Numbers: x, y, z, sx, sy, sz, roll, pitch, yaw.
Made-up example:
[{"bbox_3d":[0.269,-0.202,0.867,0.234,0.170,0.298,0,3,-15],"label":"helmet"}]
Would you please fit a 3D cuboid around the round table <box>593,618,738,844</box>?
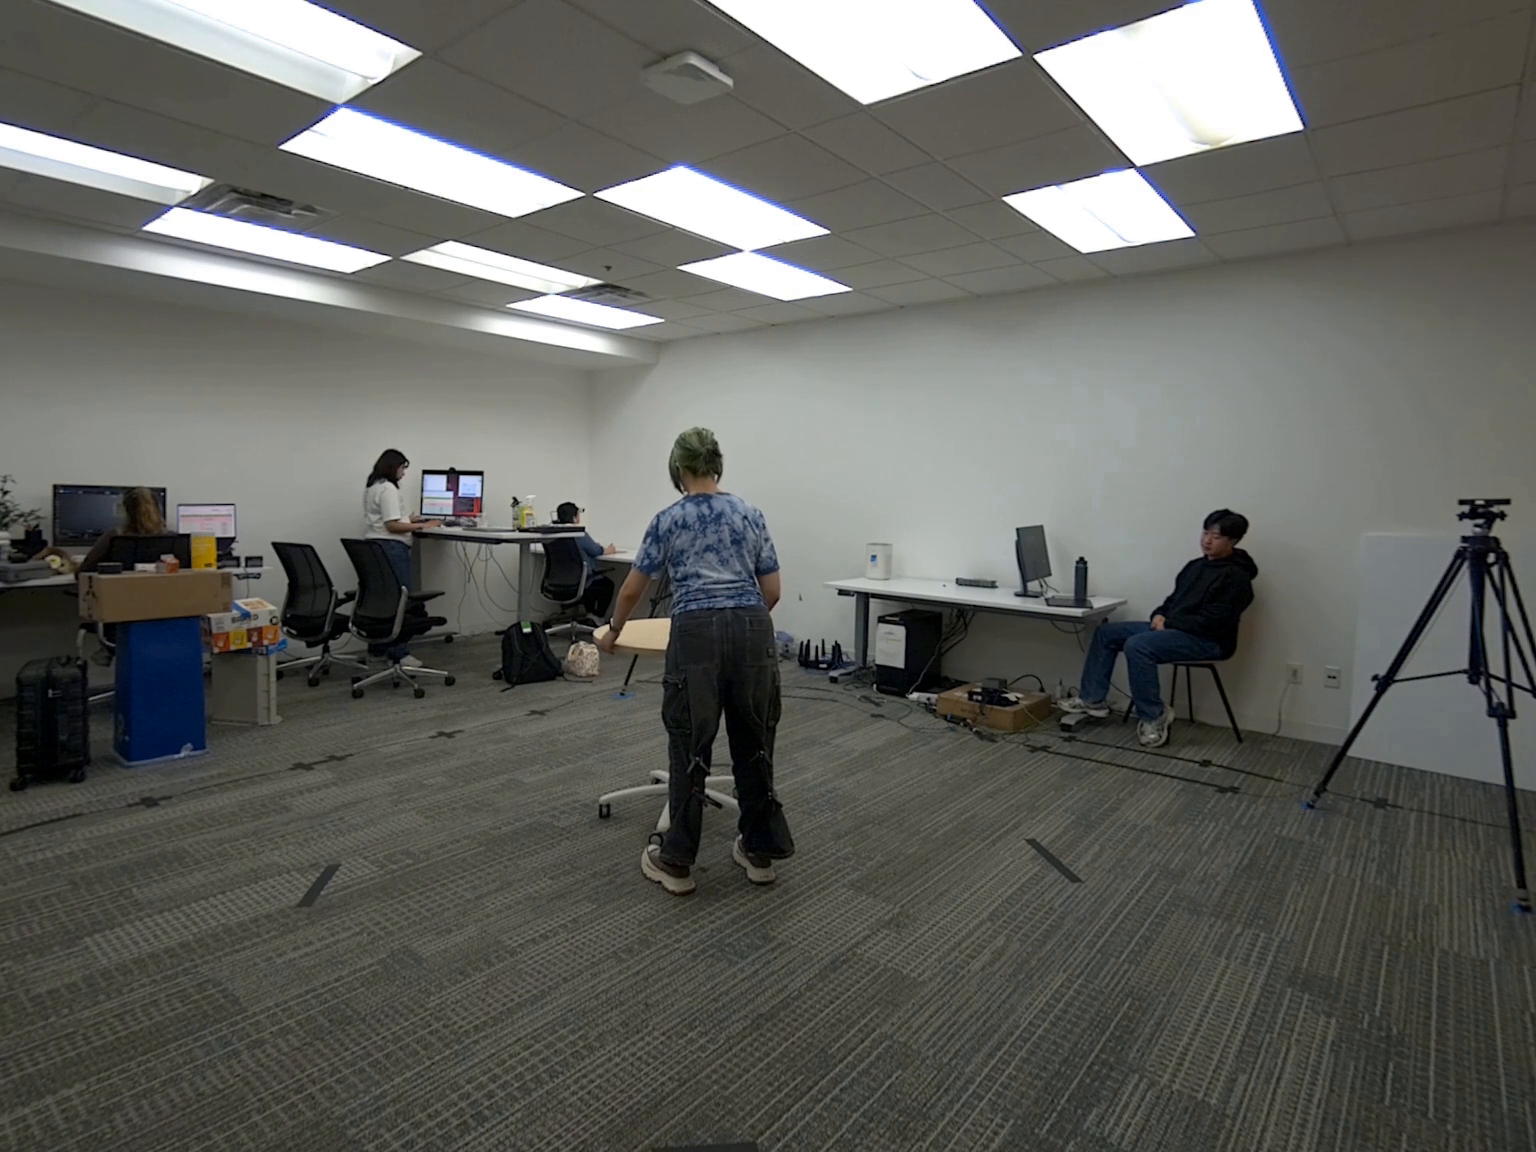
[{"bbox_3d":[-0.370,0.629,3.600,0.763,0.791,0.768,1,4,-2],"label":"round table"}]
